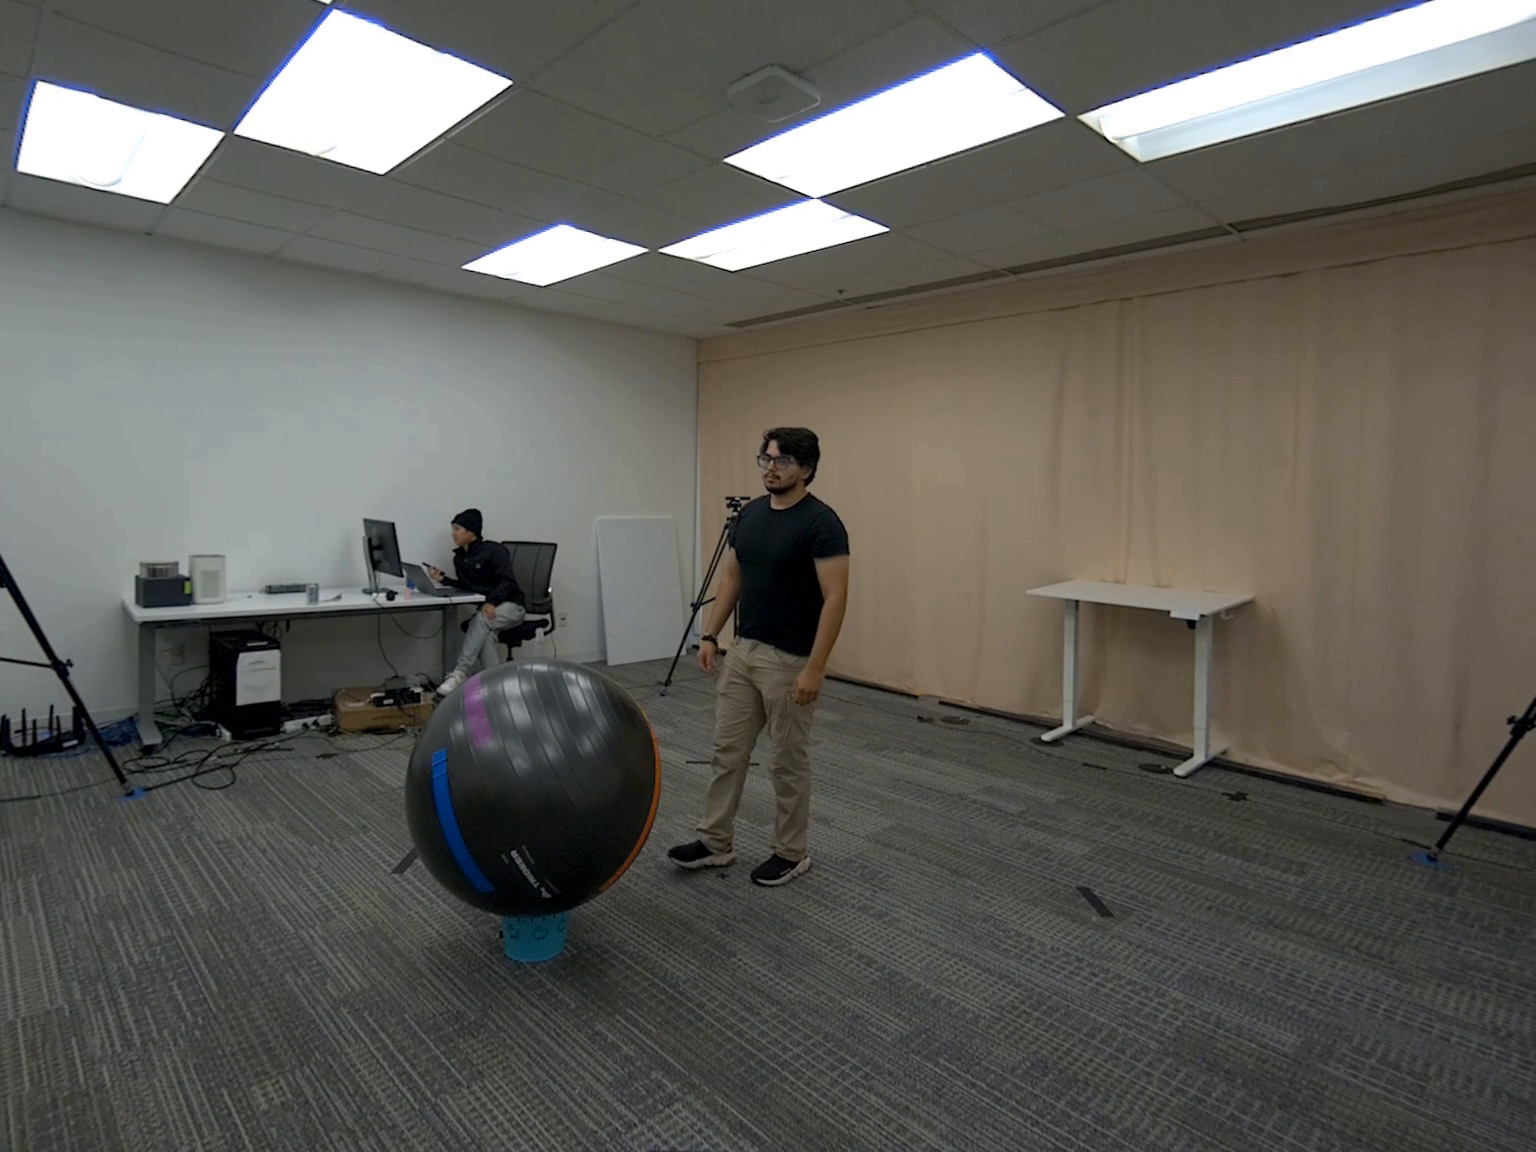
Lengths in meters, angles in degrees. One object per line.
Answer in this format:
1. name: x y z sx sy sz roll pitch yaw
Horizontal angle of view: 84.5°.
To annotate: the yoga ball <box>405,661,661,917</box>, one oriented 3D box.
1. yoga ball: -0.708 0.633 2.570 0.757 0.756 0.761 1 4 -1
